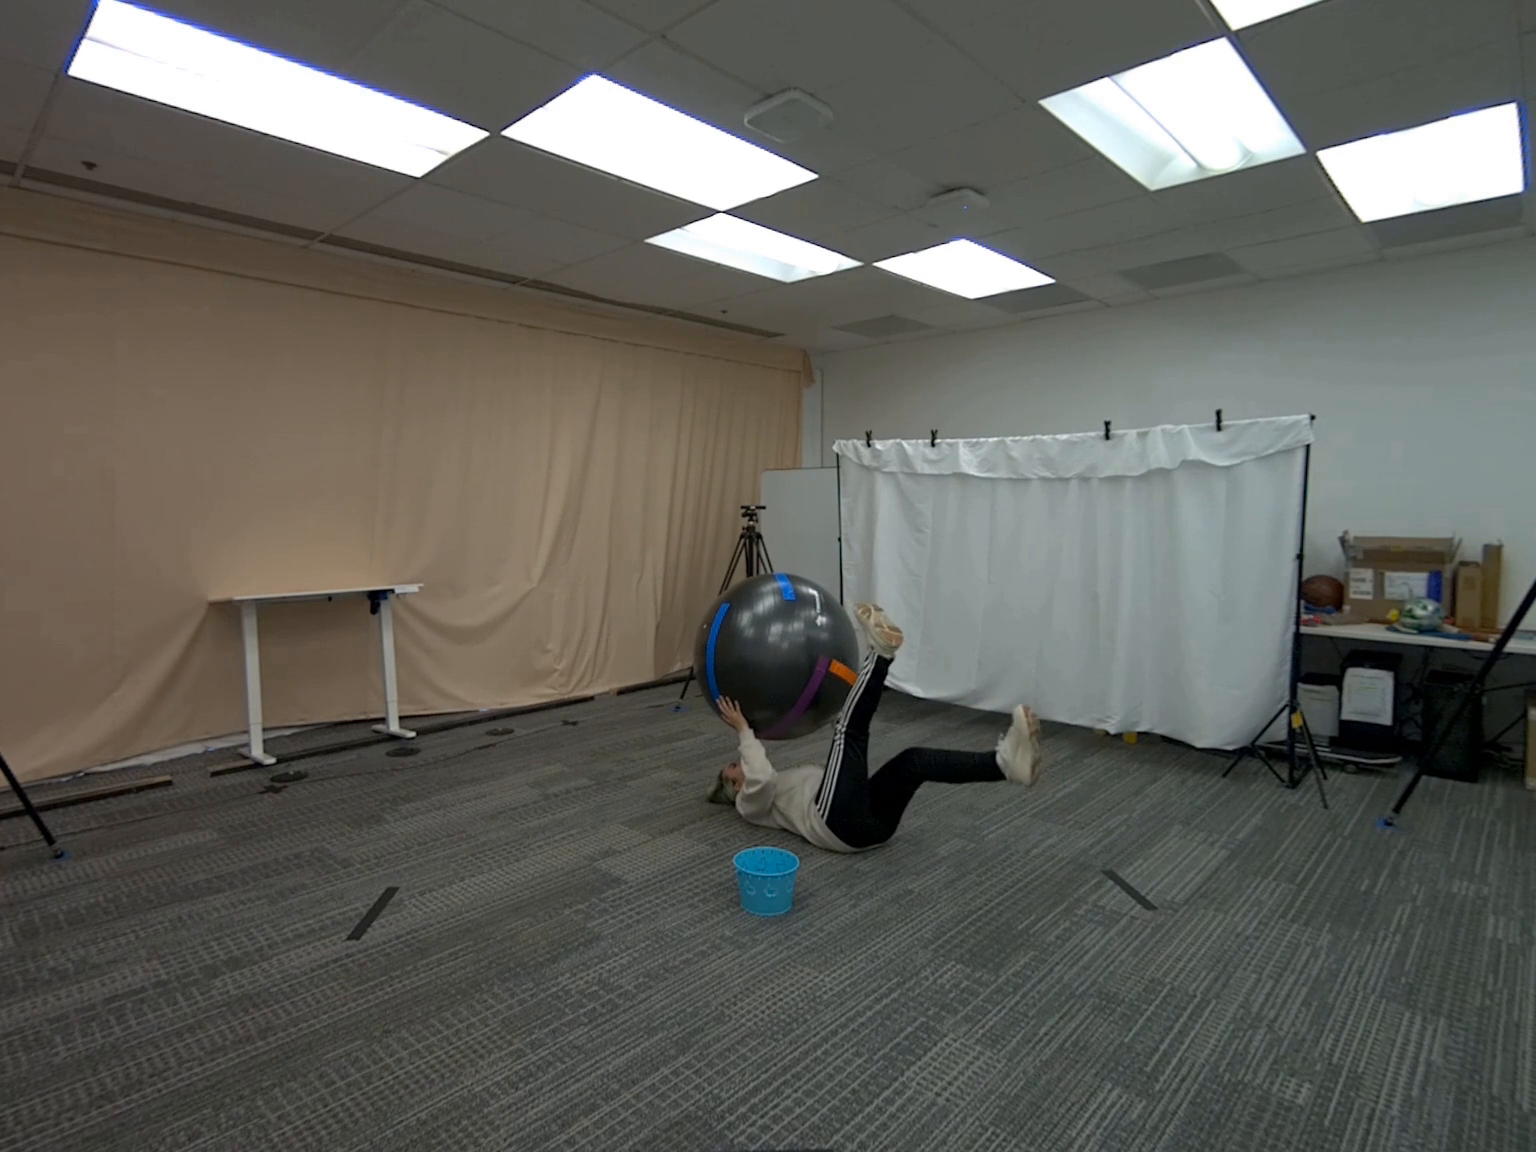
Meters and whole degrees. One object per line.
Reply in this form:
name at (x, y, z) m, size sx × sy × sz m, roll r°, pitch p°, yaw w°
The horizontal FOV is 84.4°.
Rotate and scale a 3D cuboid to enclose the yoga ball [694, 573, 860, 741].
yoga ball at (0.038, 0.366, 3.852) m, size 0.757 × 0.756 × 0.760 m, roll 0°, pitch 4°, yaw -2°
